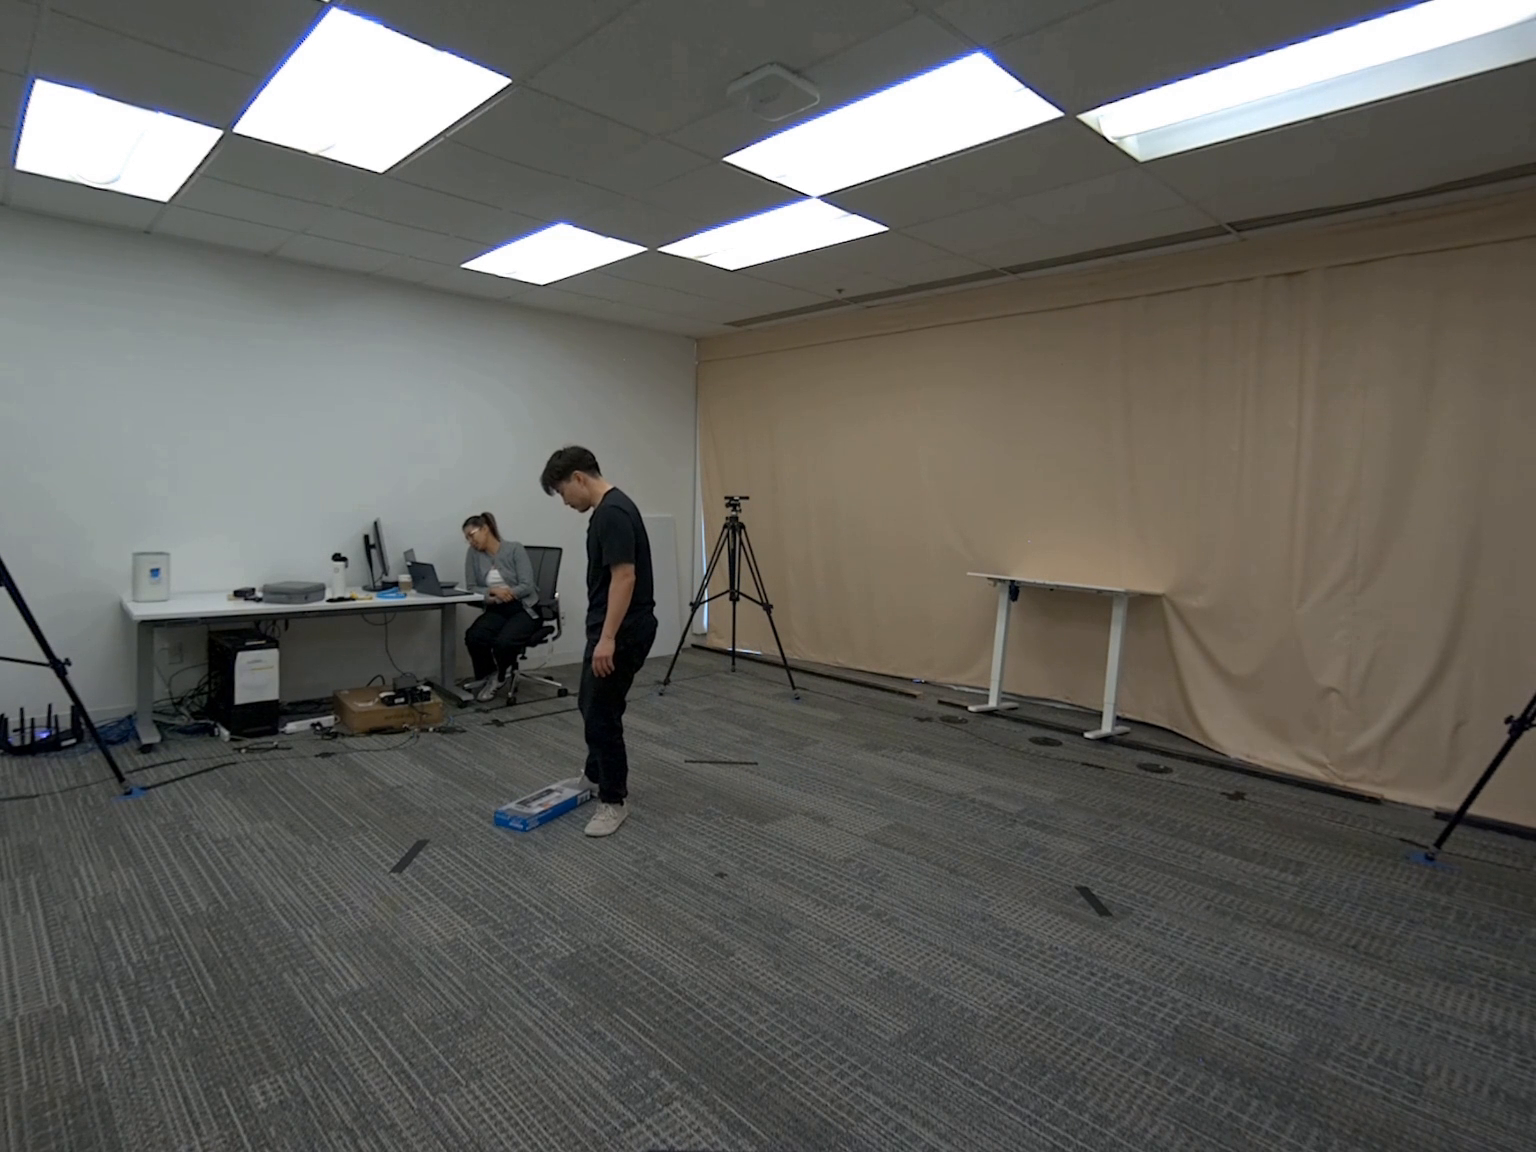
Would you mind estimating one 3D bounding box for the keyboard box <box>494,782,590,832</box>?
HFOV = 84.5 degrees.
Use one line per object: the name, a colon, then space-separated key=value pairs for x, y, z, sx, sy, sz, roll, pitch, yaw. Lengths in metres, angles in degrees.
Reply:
keyboard box: x=-0.982 y=1.002 z=3.676 sx=0.179 sy=0.059 sz=0.429 roll=4 pitch=6 yaw=25
